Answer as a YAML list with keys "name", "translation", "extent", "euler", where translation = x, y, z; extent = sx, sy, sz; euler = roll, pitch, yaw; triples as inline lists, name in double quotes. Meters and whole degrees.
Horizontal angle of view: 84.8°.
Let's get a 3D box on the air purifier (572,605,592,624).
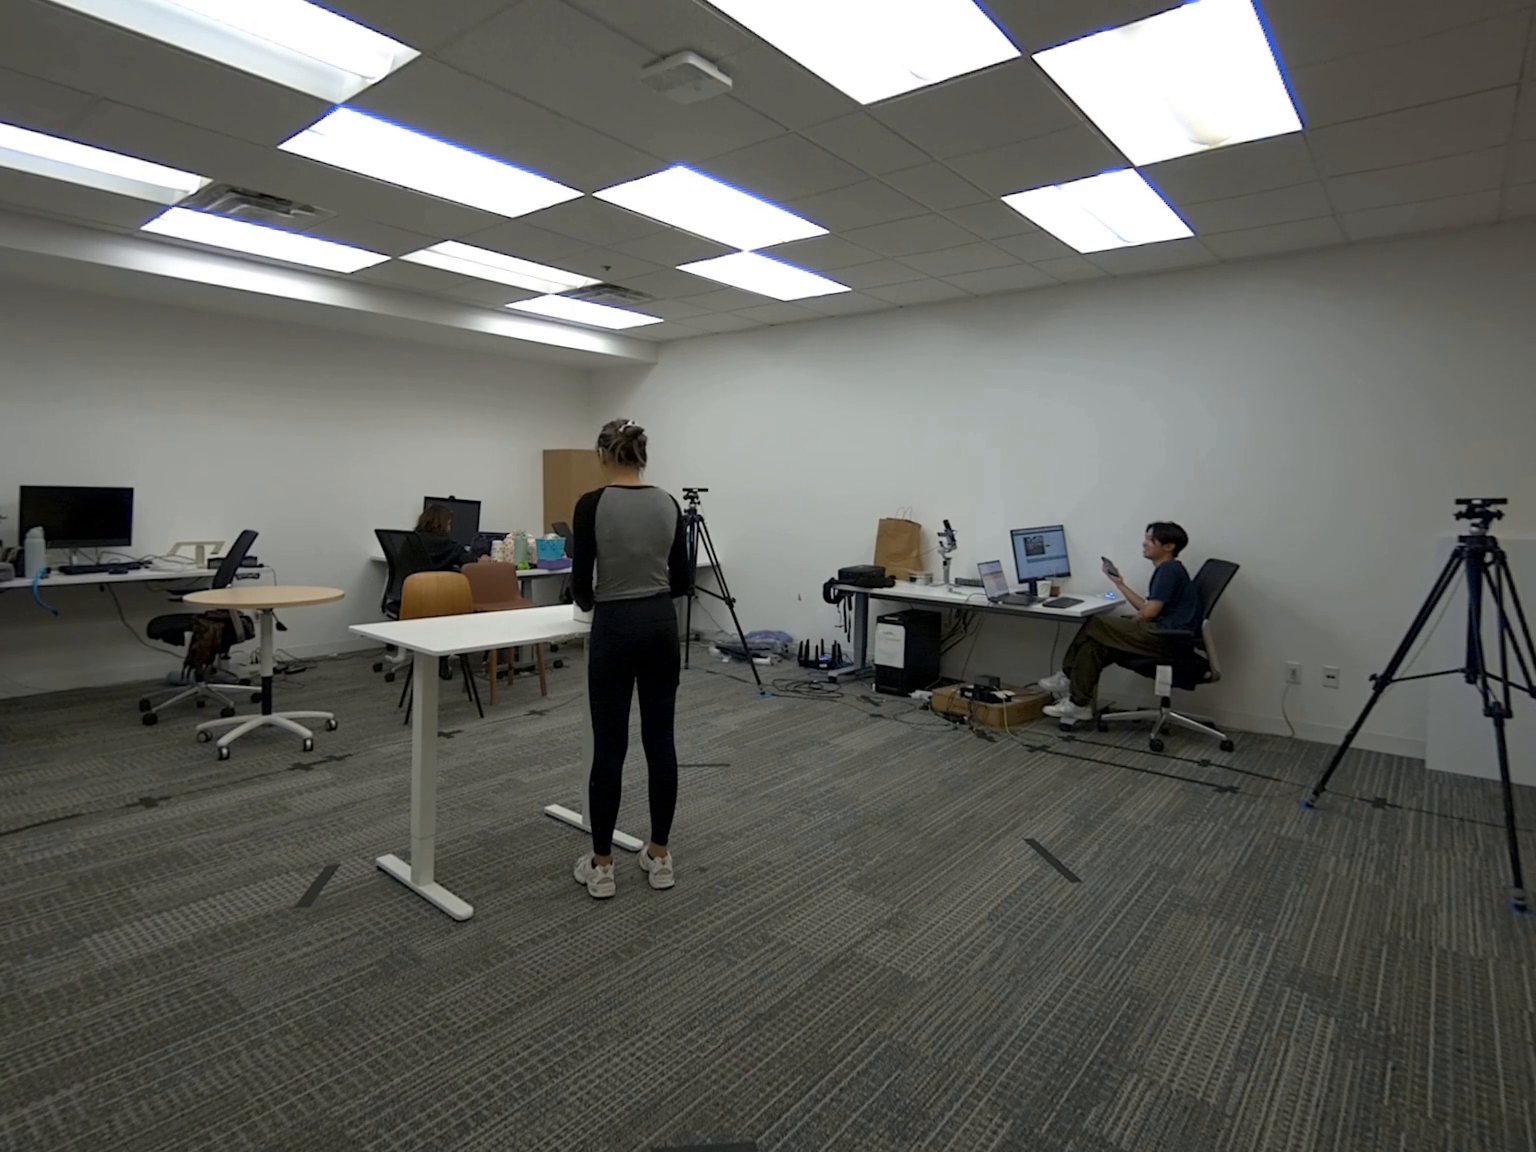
- name: "air purifier"
  translation: [-0.651, 0.034, 3.262]
  extent: [0.166, 0.265, 0.177]
  euler: [1, 4, -39]
